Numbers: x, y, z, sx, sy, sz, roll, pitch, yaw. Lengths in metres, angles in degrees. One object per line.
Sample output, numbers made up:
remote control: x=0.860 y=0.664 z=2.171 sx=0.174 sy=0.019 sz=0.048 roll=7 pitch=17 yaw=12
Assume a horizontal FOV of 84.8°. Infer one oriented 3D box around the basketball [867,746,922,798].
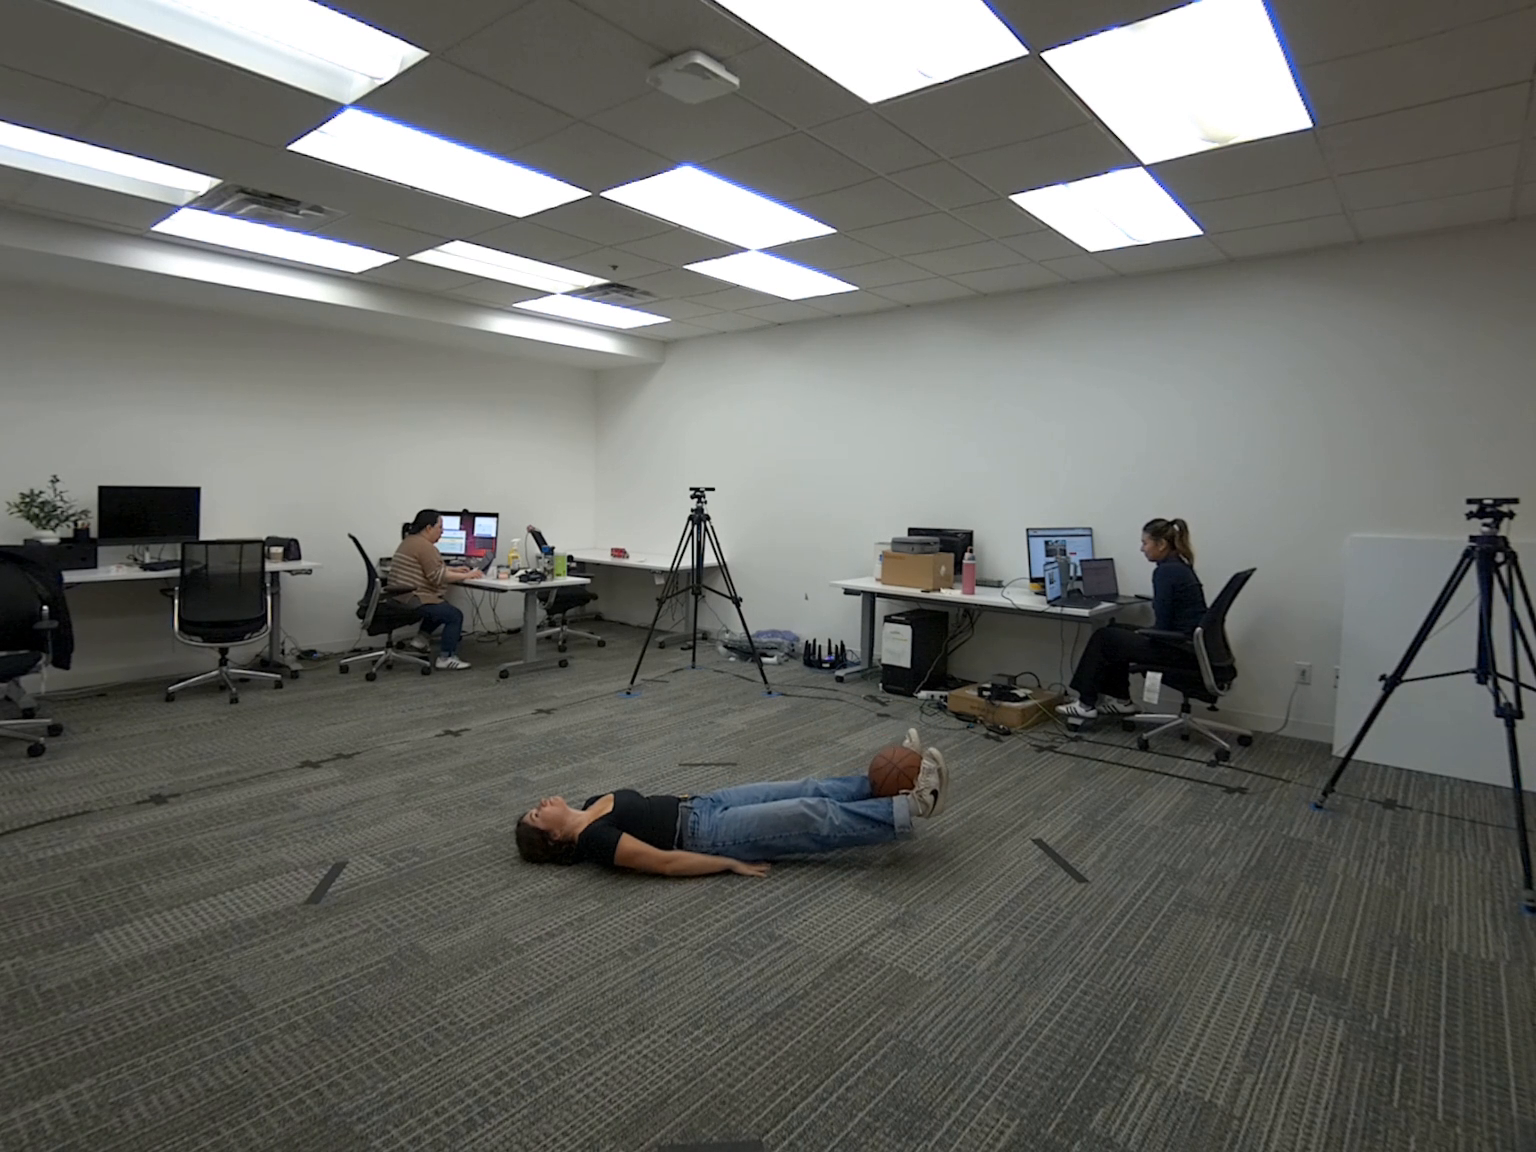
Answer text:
basketball: x=0.504 y=0.778 z=3.331 sx=0.235 sy=0.235 sz=0.237 roll=1 pitch=4 yaw=-2
